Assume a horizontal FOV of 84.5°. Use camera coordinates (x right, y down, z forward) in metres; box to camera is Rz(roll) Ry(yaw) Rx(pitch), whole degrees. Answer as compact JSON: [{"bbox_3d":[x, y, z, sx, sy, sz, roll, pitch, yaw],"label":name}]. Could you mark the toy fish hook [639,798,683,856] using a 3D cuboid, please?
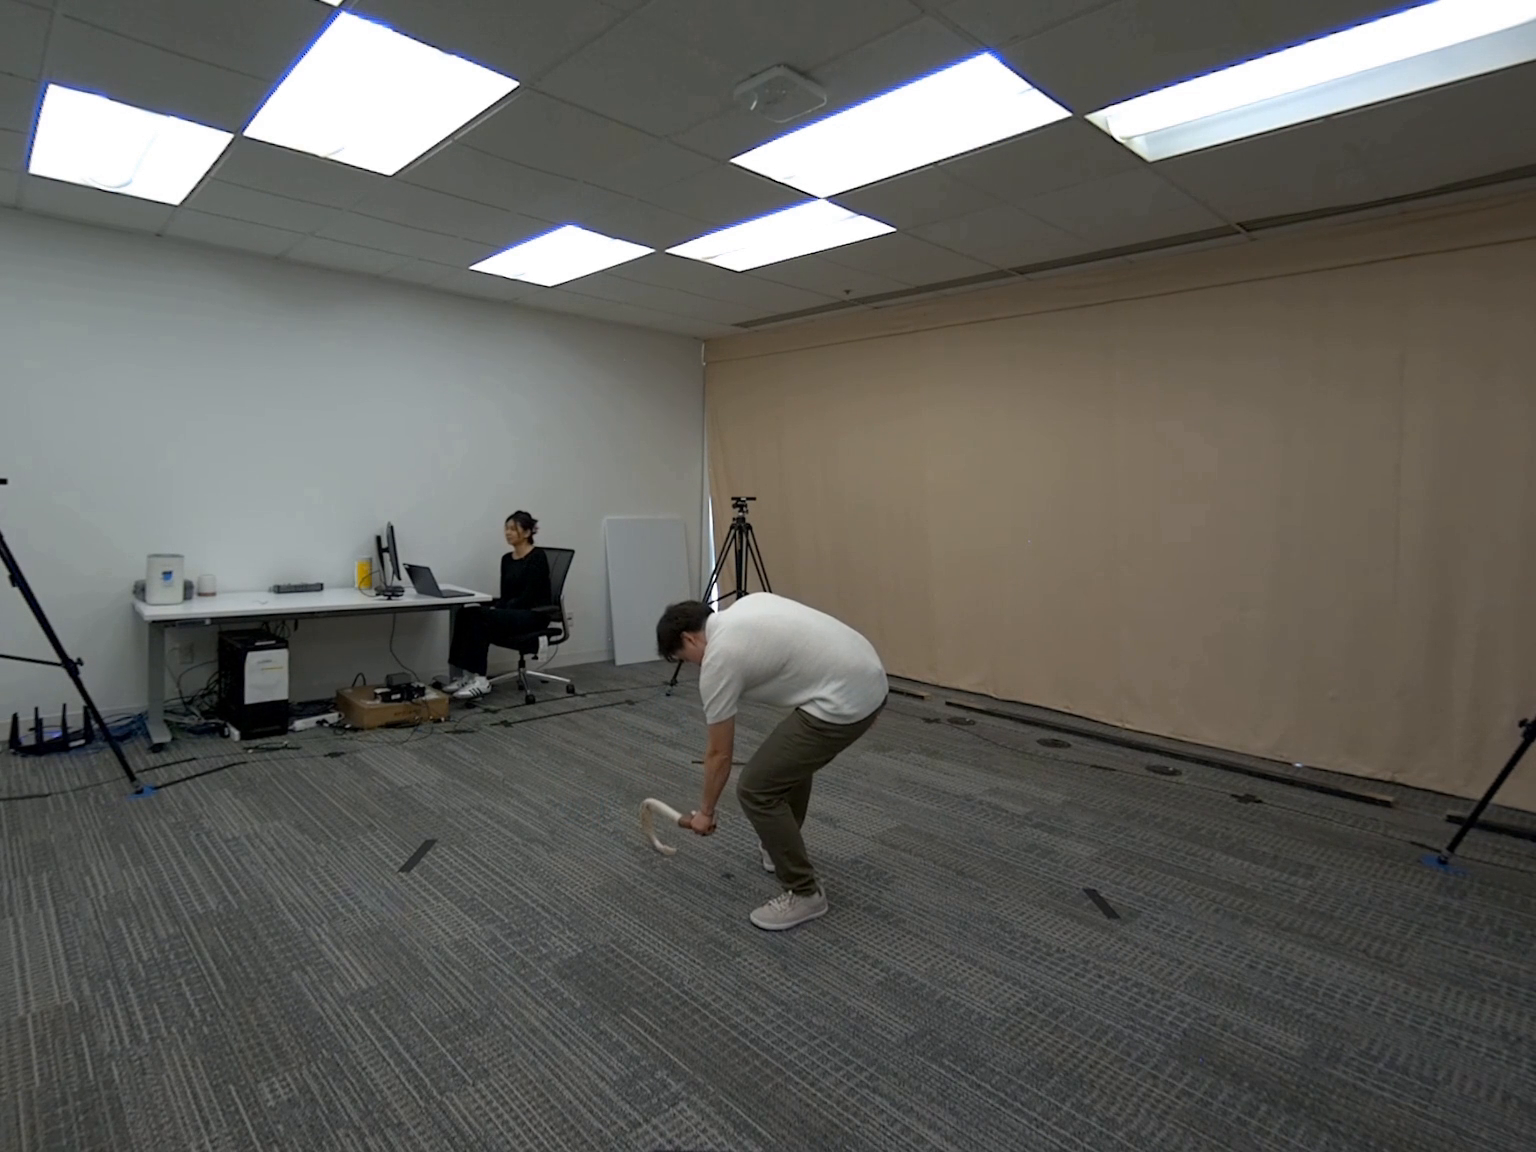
[{"bbox_3d":[-0.343,0.961,3.171,0.047,0.223,0.516,-21,7,-38],"label":"toy fish hook"}]
